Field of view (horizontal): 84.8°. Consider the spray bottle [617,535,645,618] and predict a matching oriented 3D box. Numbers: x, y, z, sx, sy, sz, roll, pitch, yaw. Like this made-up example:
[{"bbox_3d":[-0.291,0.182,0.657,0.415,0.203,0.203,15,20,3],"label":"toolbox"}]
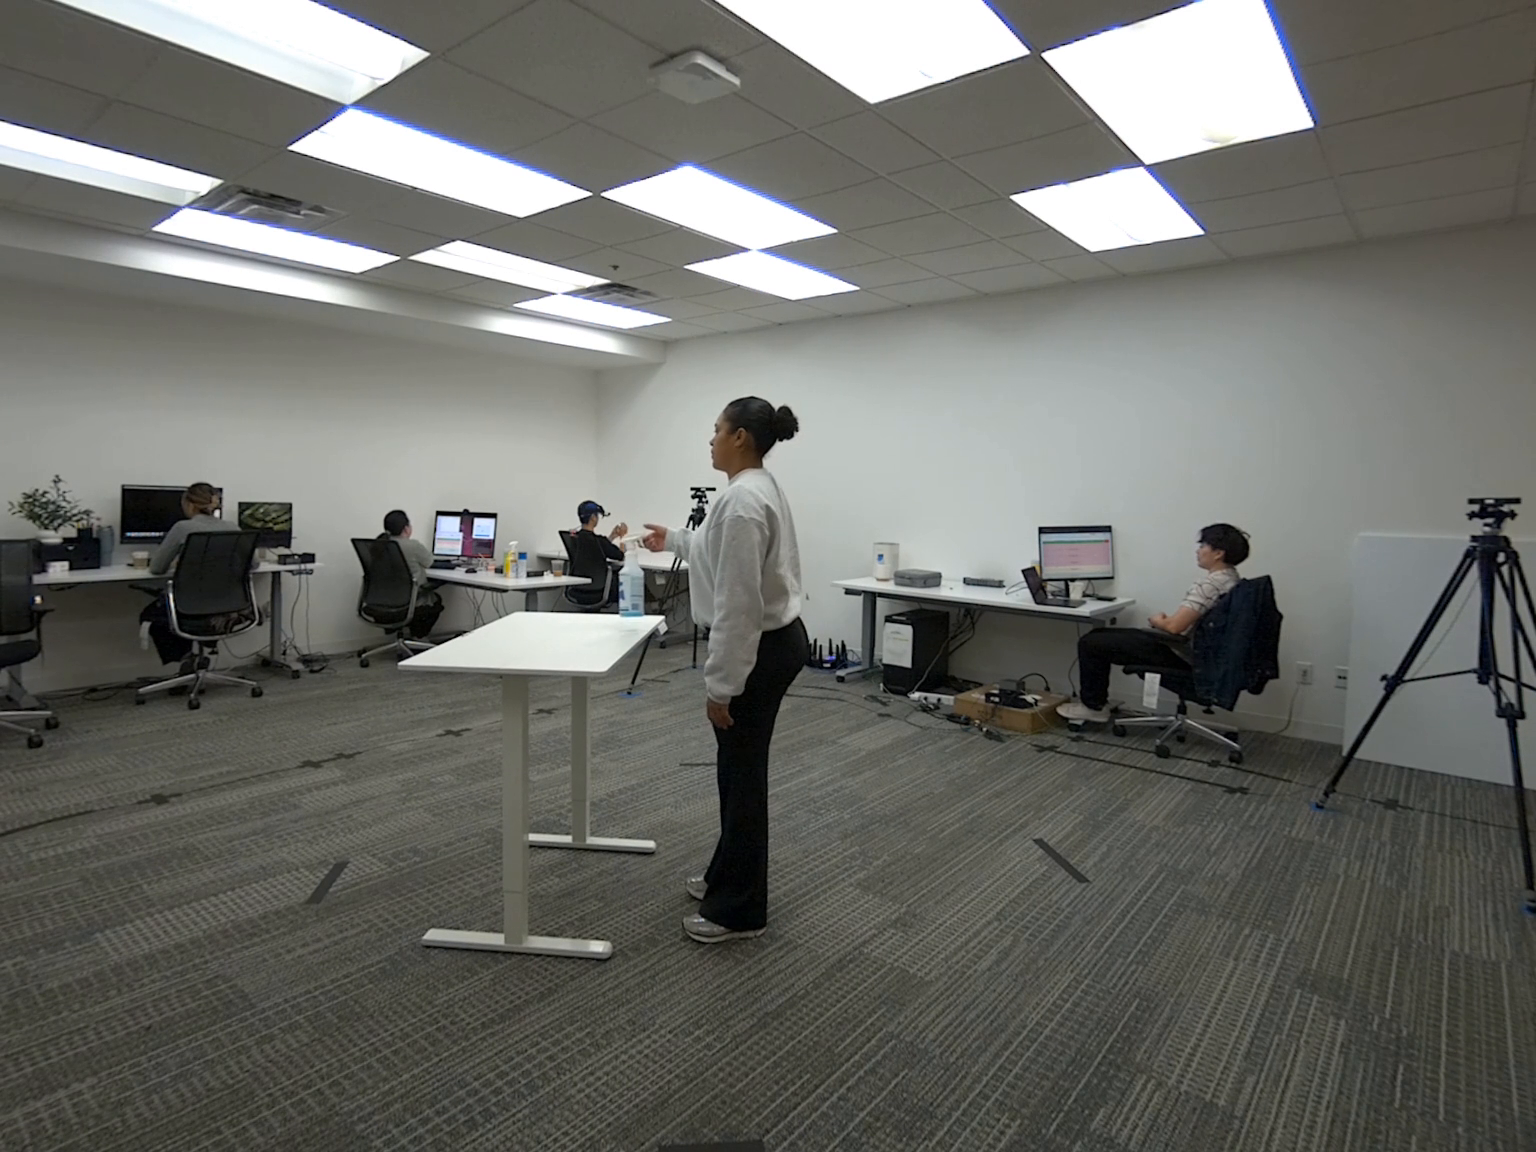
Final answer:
[{"bbox_3d":[-0.488,0.003,3.002,0.093,0.299,0.084,-3,-7,37],"label":"spray bottle"}]
